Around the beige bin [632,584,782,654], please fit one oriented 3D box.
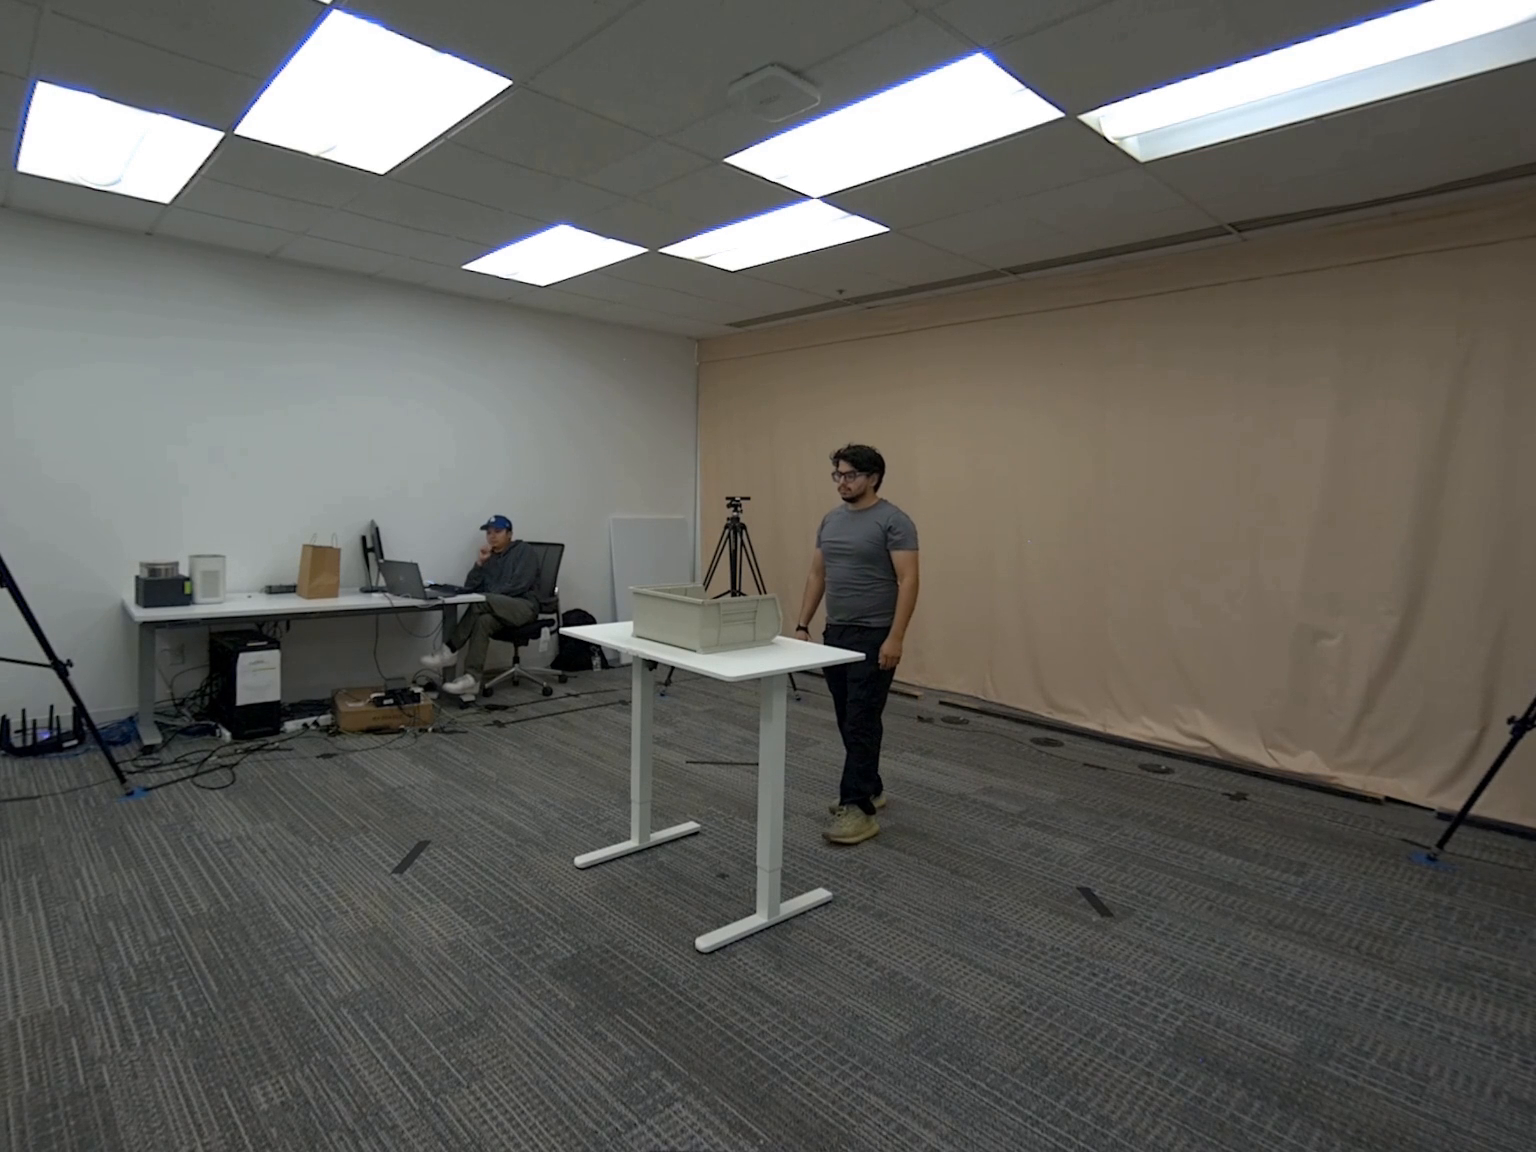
[{"bbox_3d":[-0.229,0.142,3.001,0.369,0.188,0.433,-5,8,-42],"label":"beige bin"}]
